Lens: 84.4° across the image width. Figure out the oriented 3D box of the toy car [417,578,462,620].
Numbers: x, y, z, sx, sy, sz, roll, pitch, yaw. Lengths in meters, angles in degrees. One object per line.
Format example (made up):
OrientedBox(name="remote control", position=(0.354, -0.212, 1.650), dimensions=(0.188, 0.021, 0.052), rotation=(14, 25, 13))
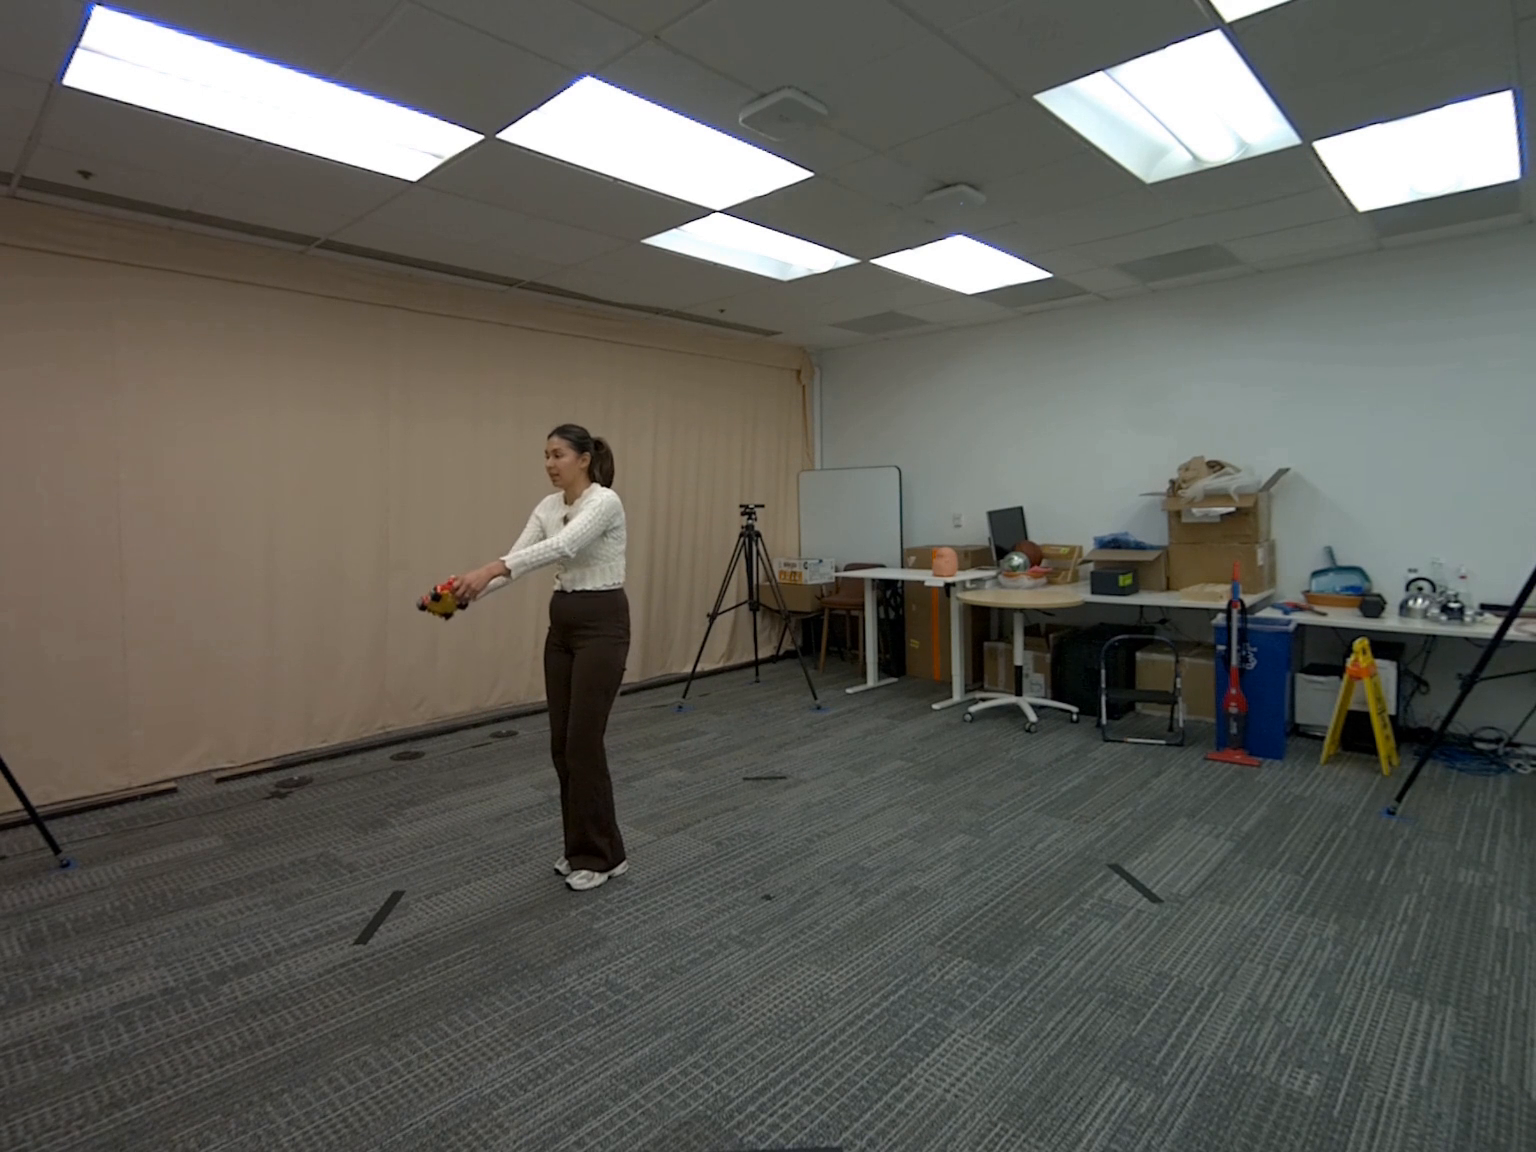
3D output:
OrientedBox(name="toy car", position=(-1.055, 0.082, 2.776), dimensions=(0.126, 0.084, 0.258), rotation=(18, -31, -28))
